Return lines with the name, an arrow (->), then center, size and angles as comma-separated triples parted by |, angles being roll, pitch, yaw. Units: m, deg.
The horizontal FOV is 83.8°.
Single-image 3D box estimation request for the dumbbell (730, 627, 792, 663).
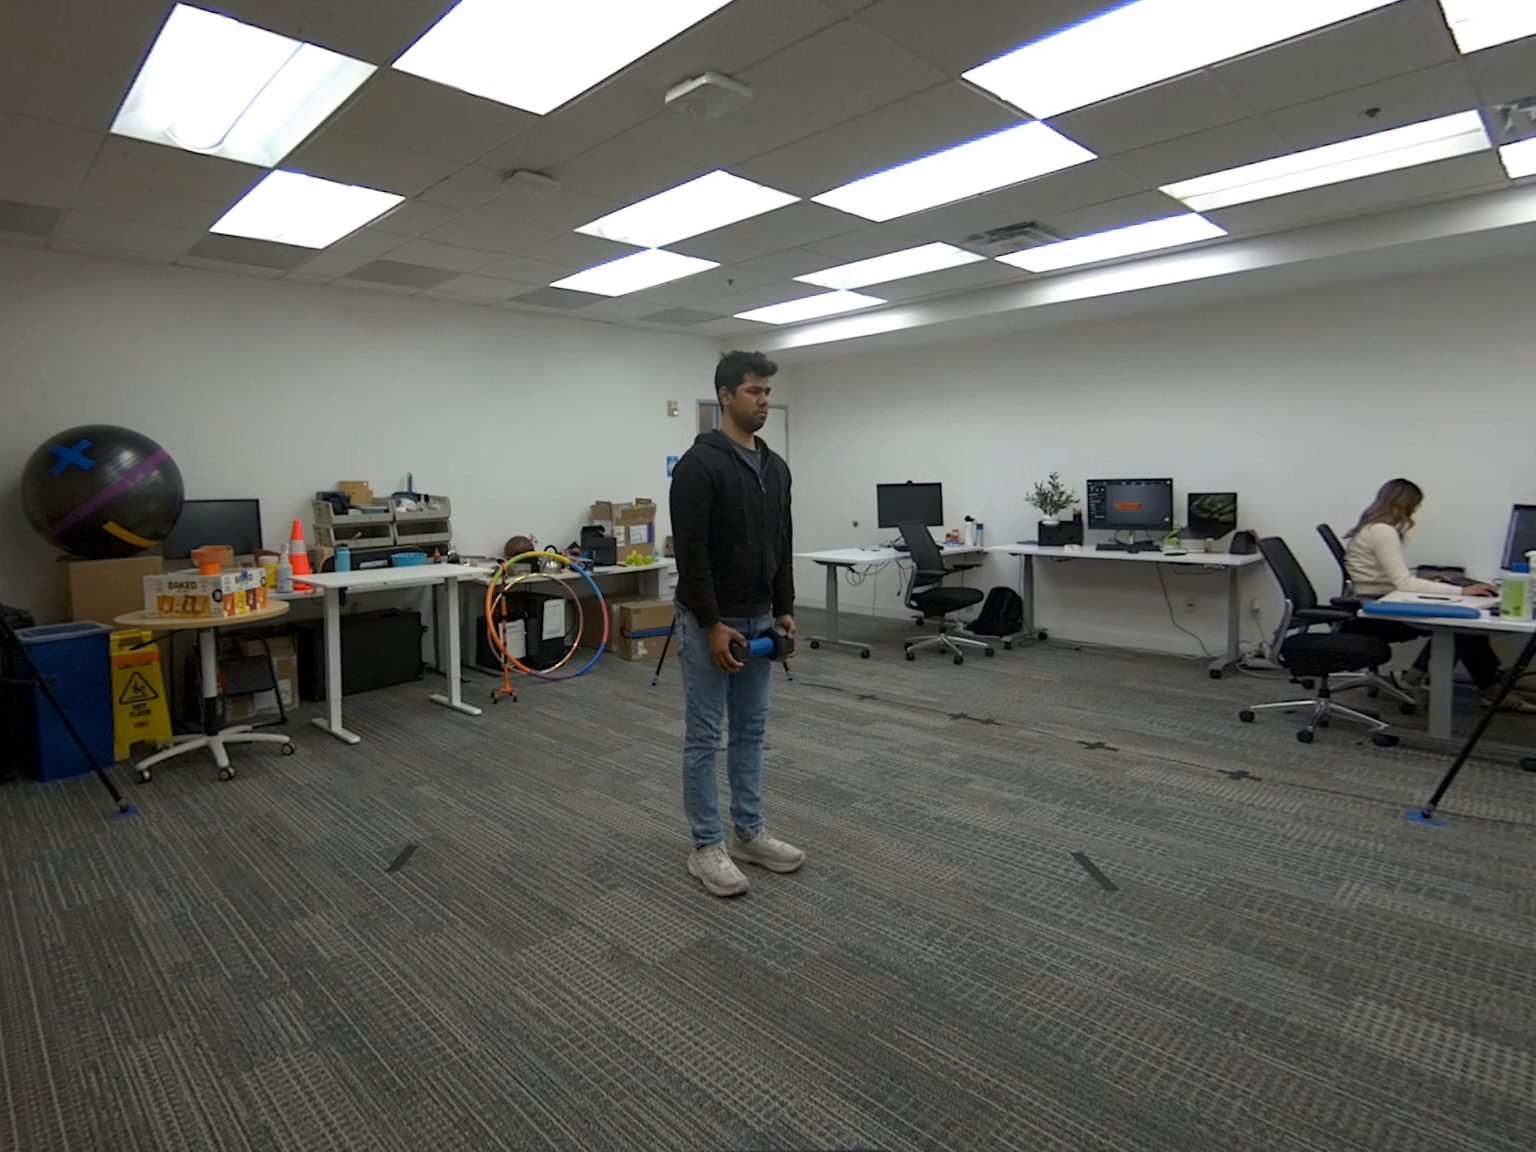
dumbbell -> -0.047, 0.251, 2.948 | 0.286, 0.111, 0.123 | -9, -26, -39
